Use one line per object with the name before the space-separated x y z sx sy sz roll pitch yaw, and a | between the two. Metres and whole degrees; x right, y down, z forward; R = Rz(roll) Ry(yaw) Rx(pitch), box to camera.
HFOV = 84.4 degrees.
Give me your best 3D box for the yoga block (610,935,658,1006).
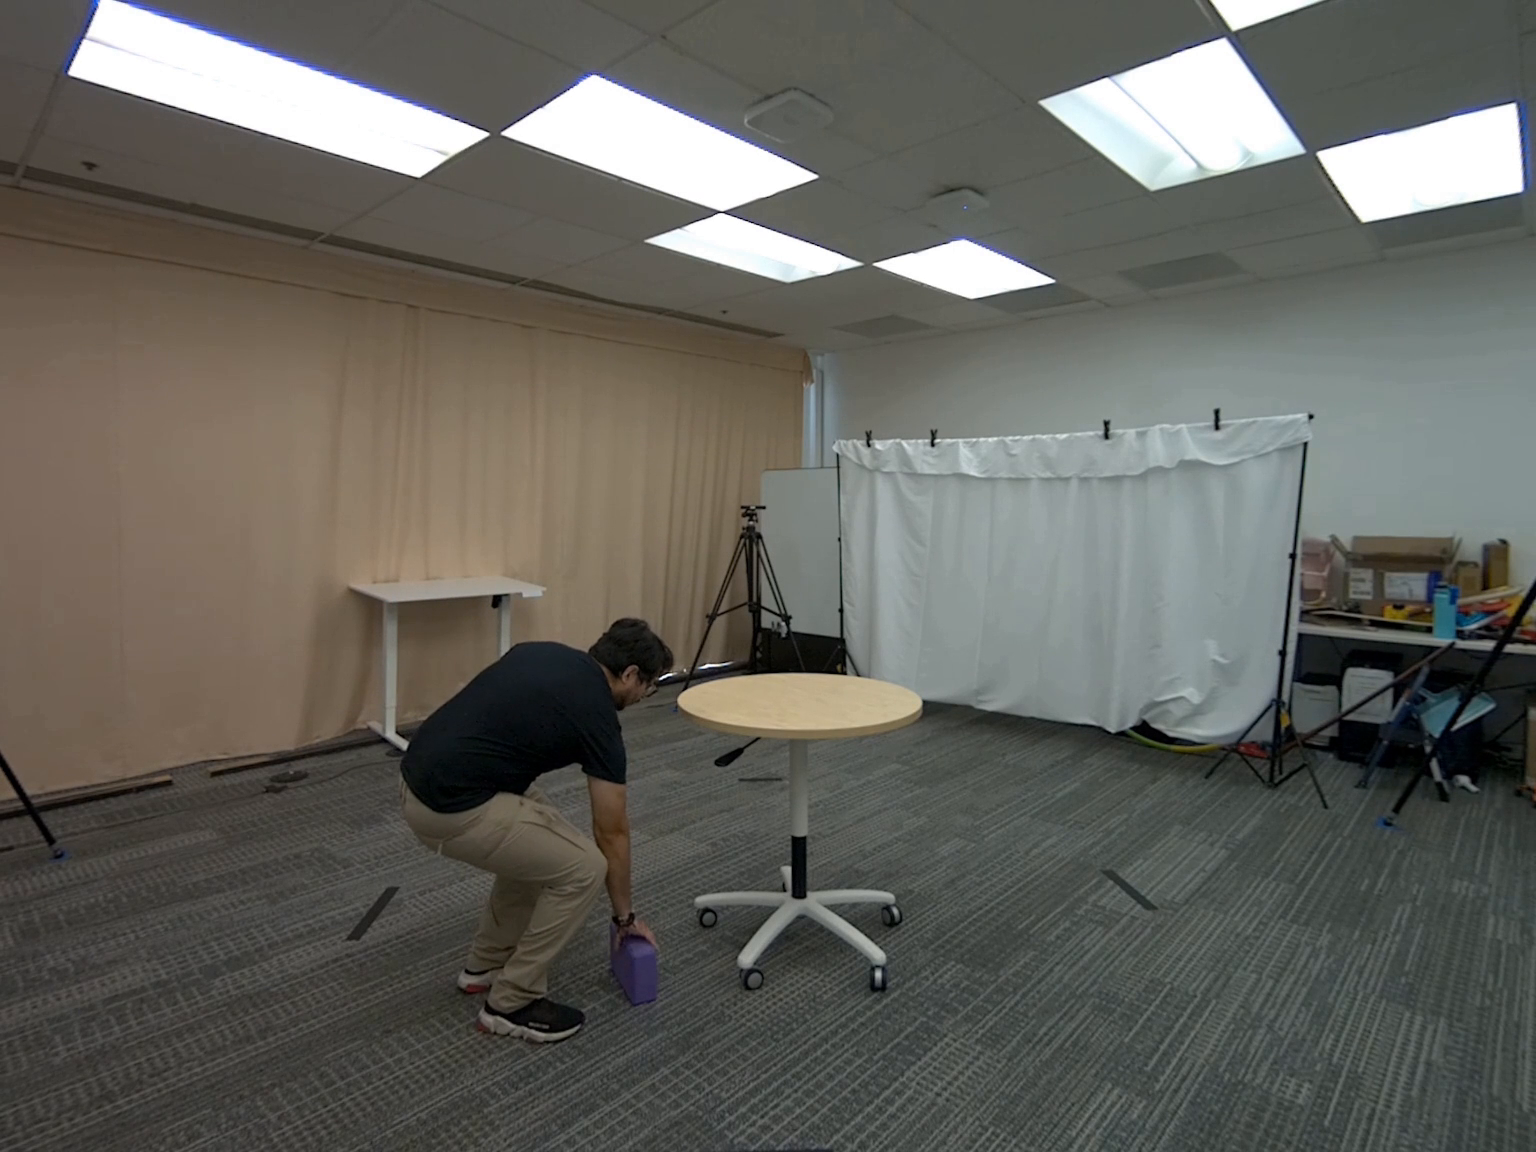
yoga block | -0.399 1.119 2.441 0.075 0.148 0.235 -7 7 -25
